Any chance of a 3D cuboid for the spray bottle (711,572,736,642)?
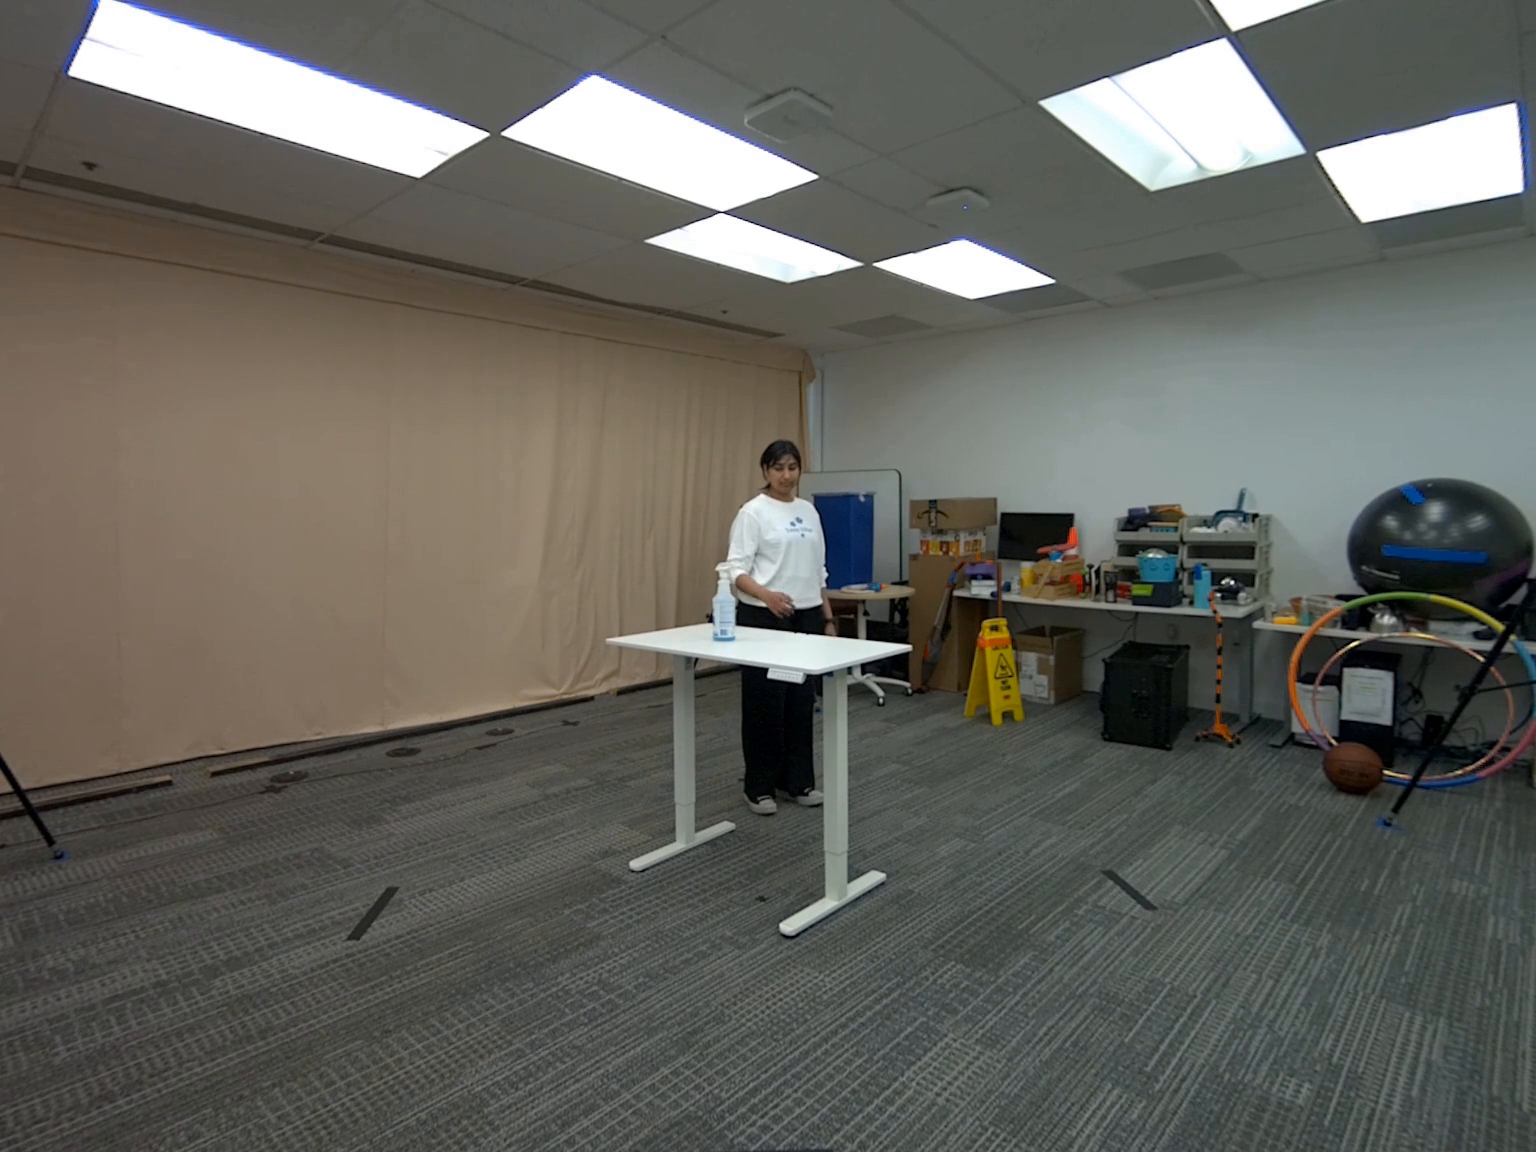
[{"bbox_3d":[-0.169,0.098,3.212,0.085,0.297,0.092,-1,3,-27],"label":"spray bottle"}]
